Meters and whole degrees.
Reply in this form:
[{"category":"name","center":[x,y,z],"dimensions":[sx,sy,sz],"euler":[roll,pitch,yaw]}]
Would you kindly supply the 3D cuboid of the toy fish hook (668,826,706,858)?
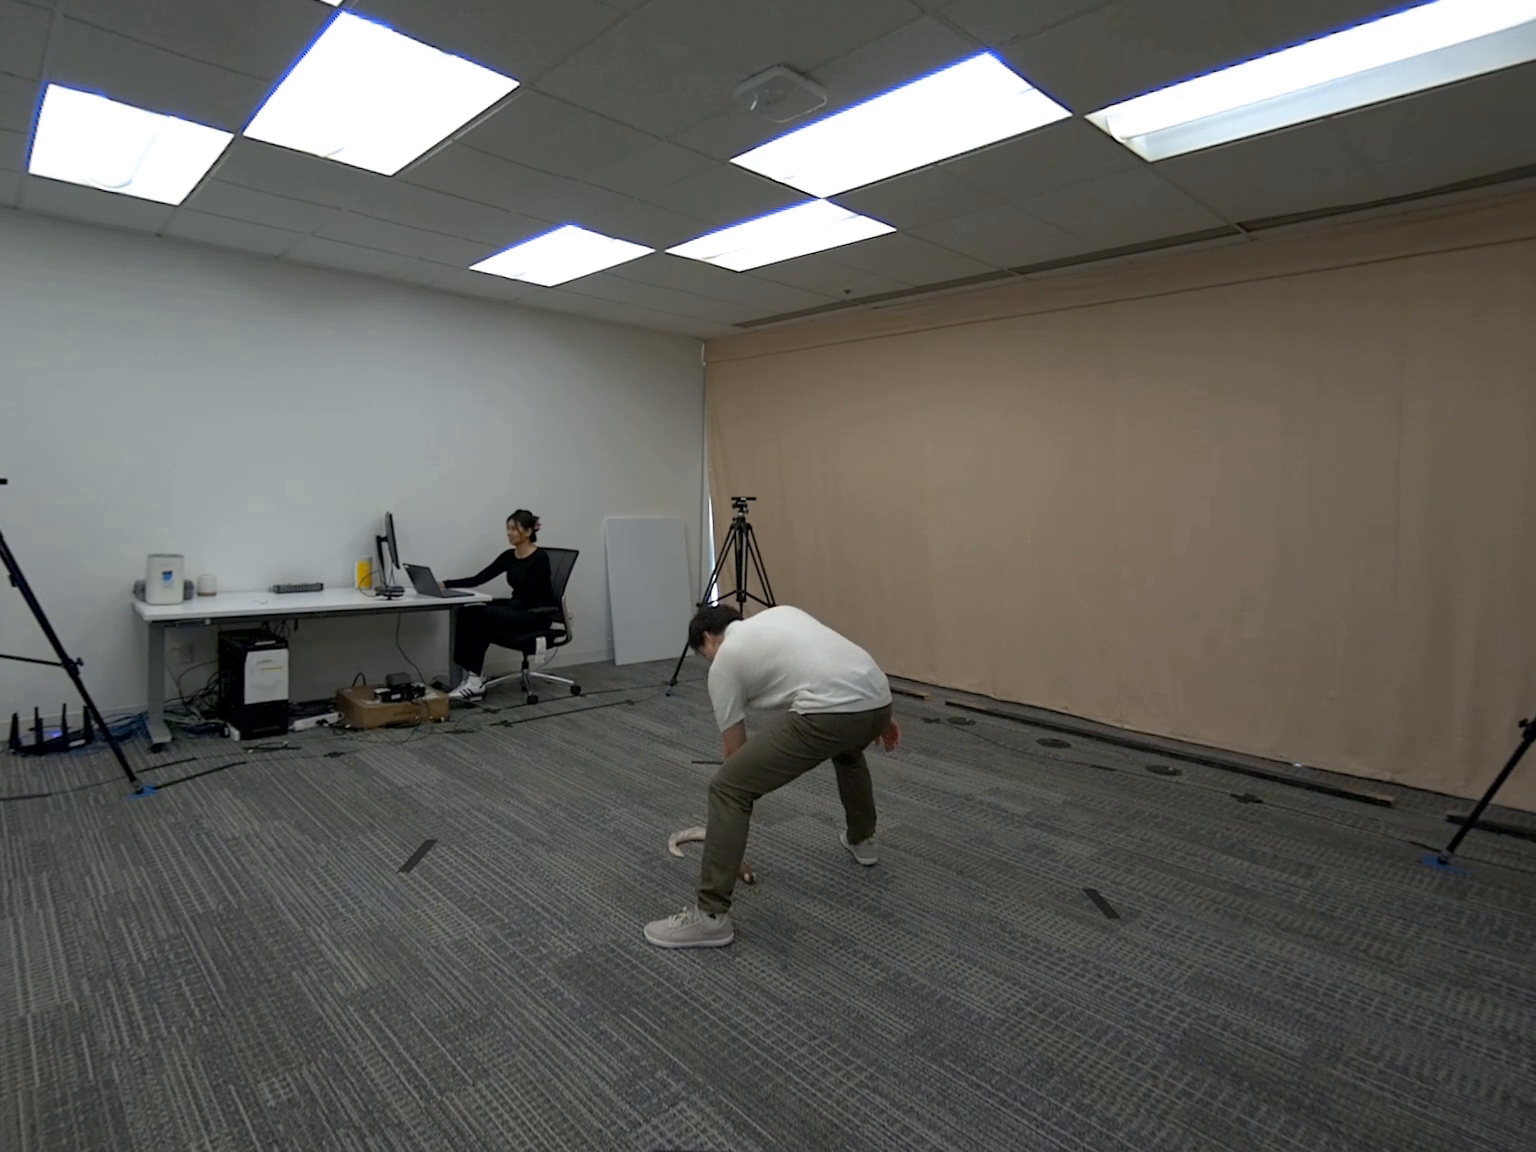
[{"category":"toy fish hook","center":[-0.228,1.082,3.226],"dimensions":[0.221,0.048,0.518],"euler":[-9,8,-28]}]
